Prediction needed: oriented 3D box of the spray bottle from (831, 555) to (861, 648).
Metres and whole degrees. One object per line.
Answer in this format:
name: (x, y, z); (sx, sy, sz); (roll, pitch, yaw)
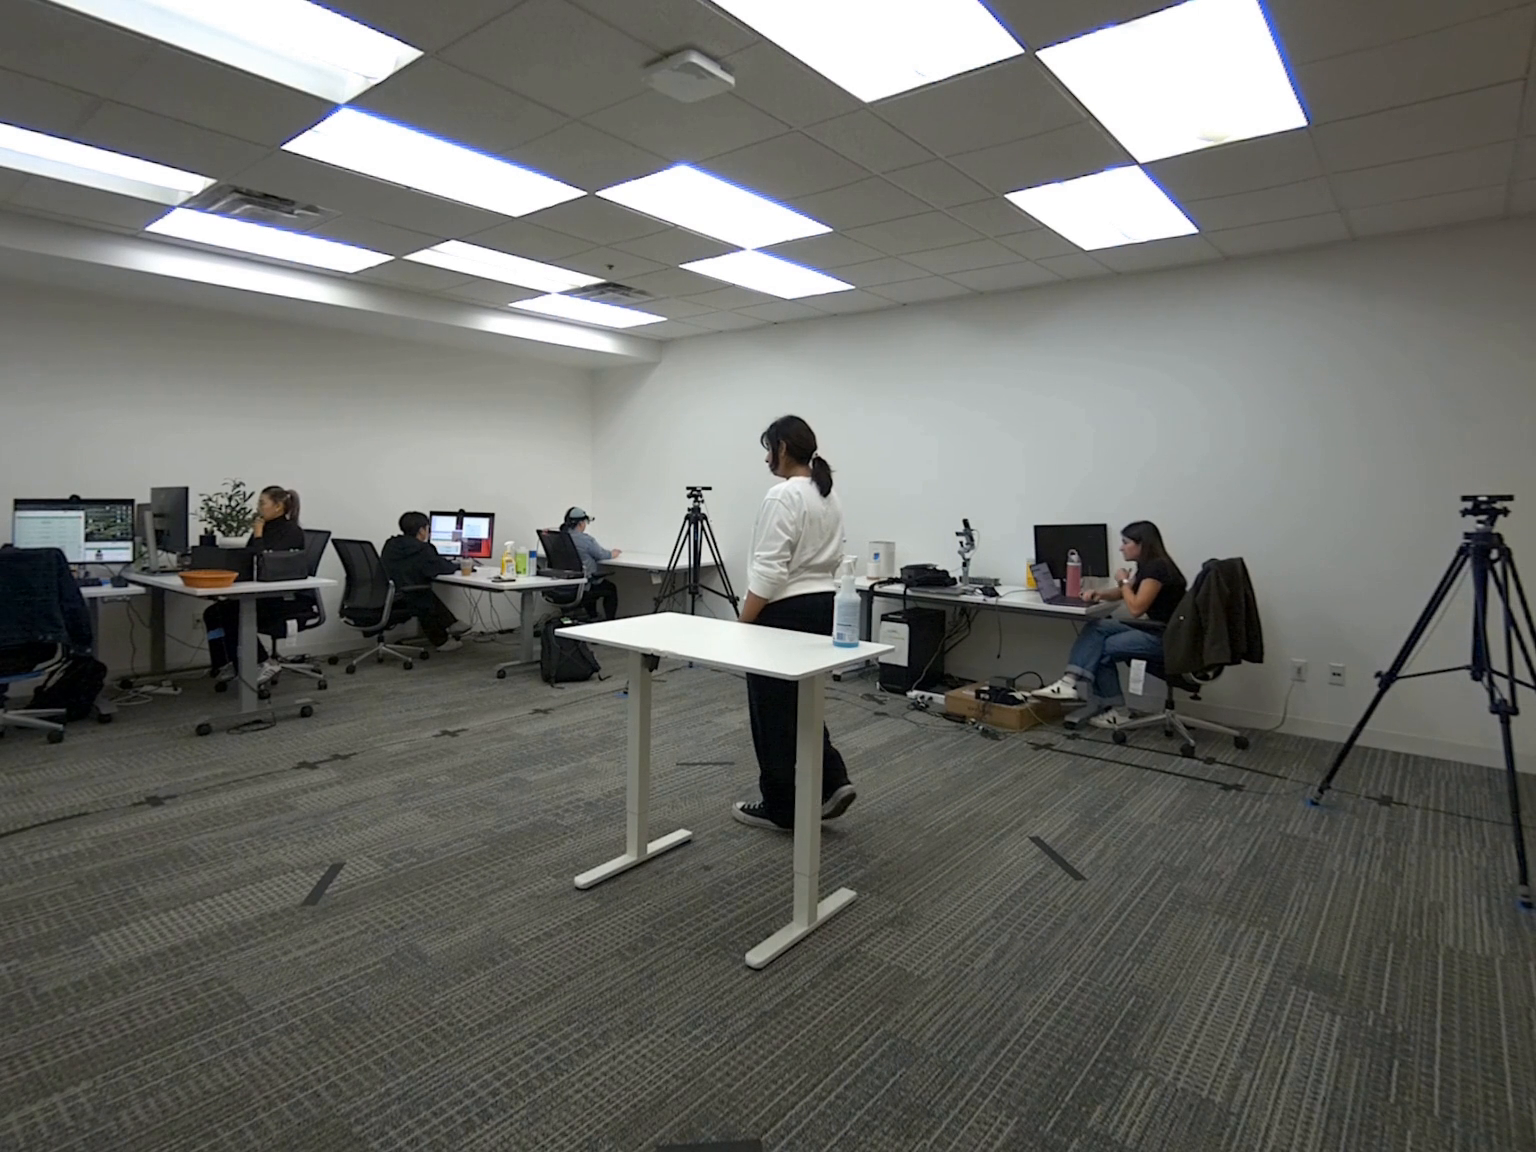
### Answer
spray bottle: (0.266, 0.081, 2.797); (0.088, 0.297, 0.089); (1, 1, 6)
